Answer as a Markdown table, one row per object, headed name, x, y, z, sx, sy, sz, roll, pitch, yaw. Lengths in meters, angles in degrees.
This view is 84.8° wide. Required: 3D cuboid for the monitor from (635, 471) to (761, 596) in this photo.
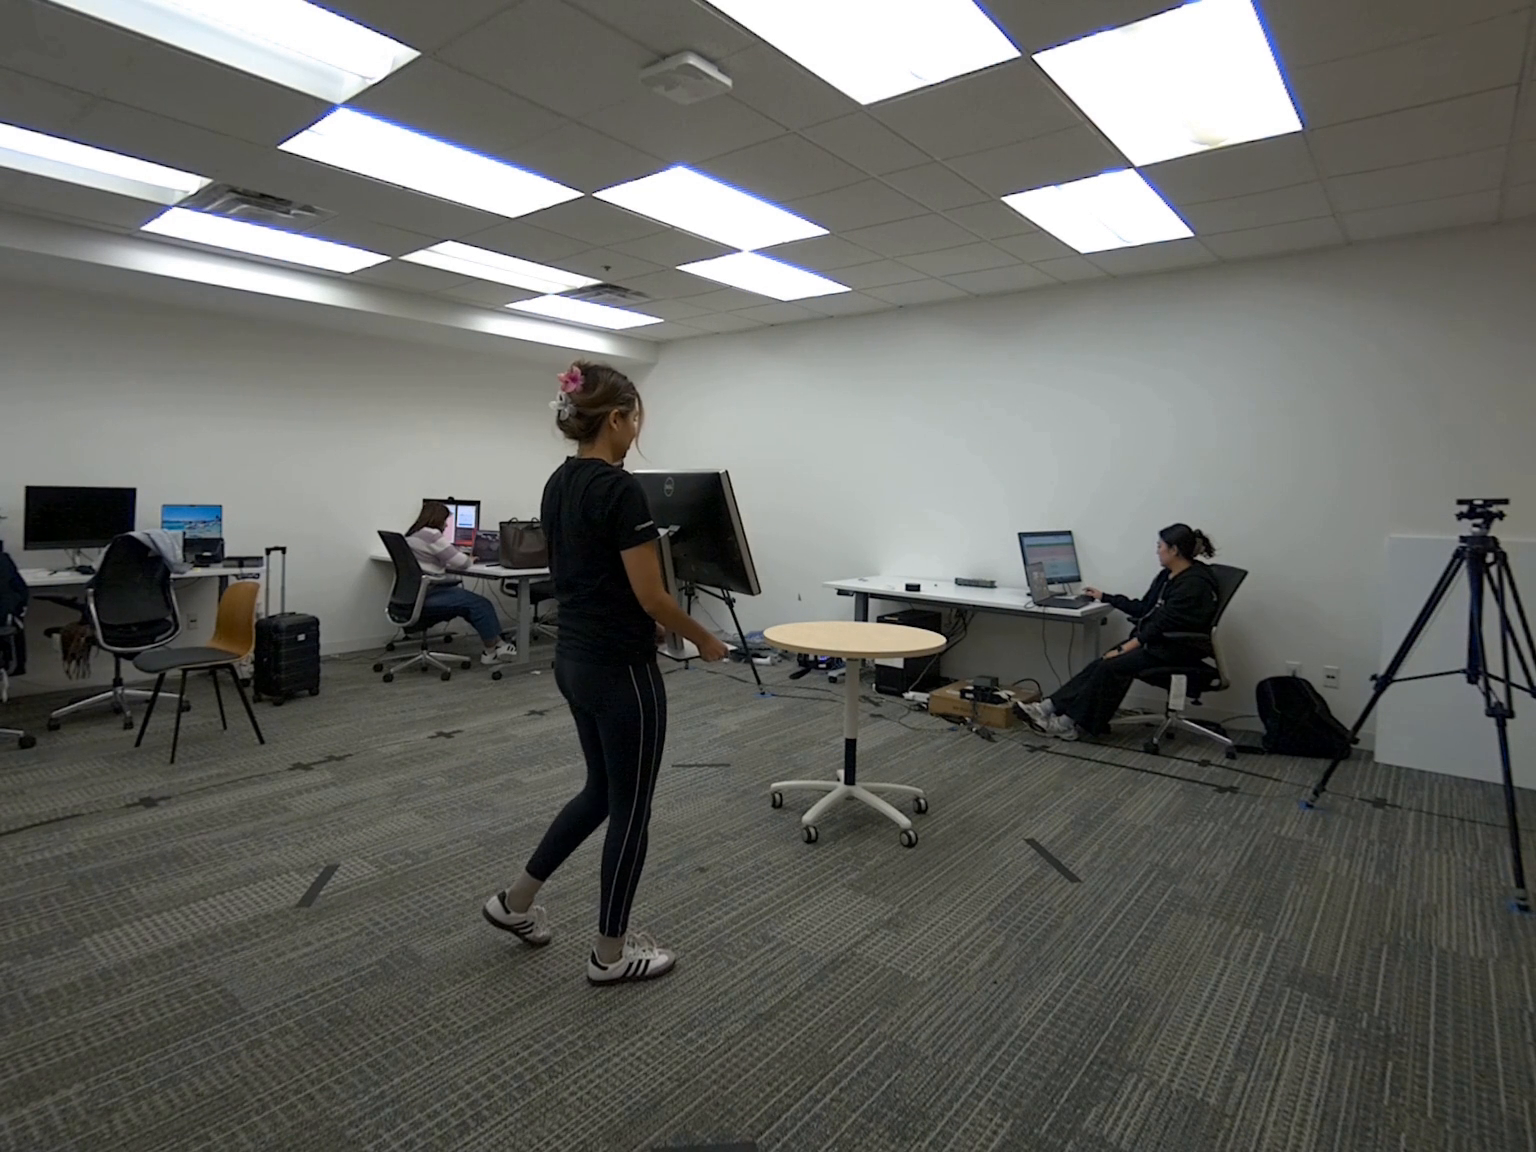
| name | x | y | z | sx | sy | sz | roll | pitch | yaw |
| --- | --- | --- | --- | --- | --- | --- | --- | --- | --- |
| monitor | -0.263 | -0.048 | 2.542 | 0.182 | 0.519 | 0.557 | -8 | 9 | -34 |
